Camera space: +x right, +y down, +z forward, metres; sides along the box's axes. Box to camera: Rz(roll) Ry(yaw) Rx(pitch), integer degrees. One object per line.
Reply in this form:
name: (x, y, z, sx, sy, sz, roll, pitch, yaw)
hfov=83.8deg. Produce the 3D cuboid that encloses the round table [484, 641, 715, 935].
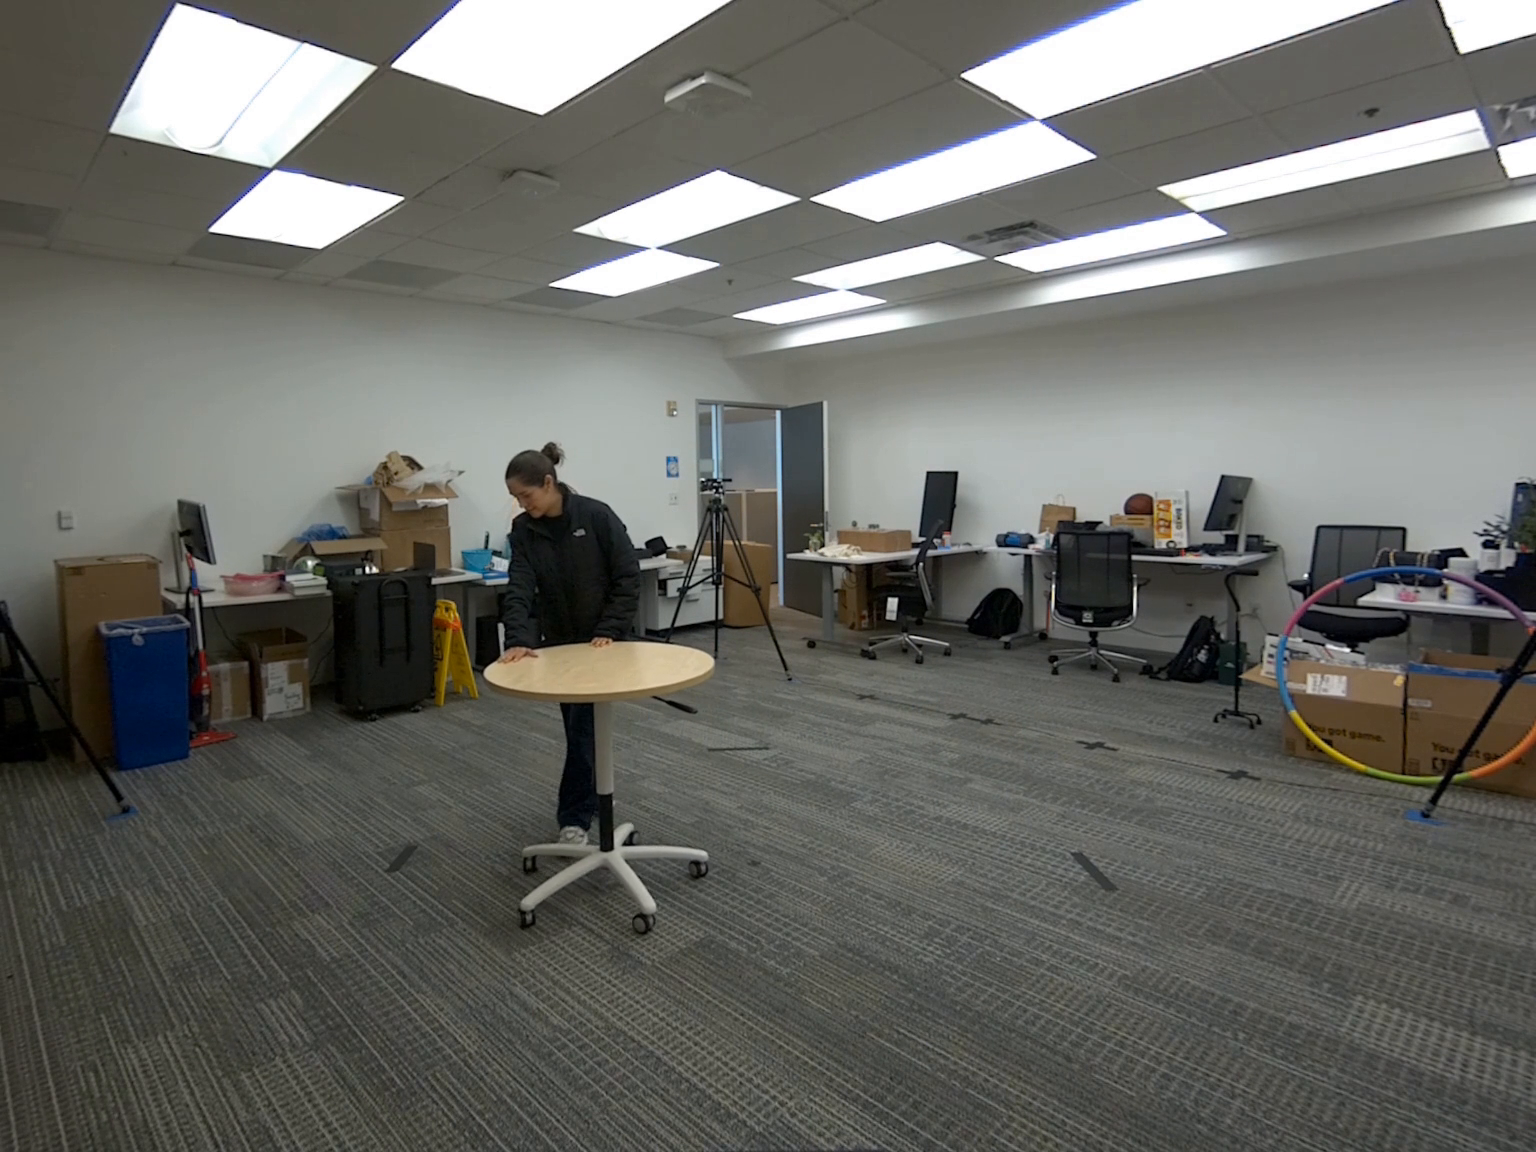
round table: (-0.563, 0.682, 2.926, 0.784, 0.783, 0.789, -1, 5, -2)
